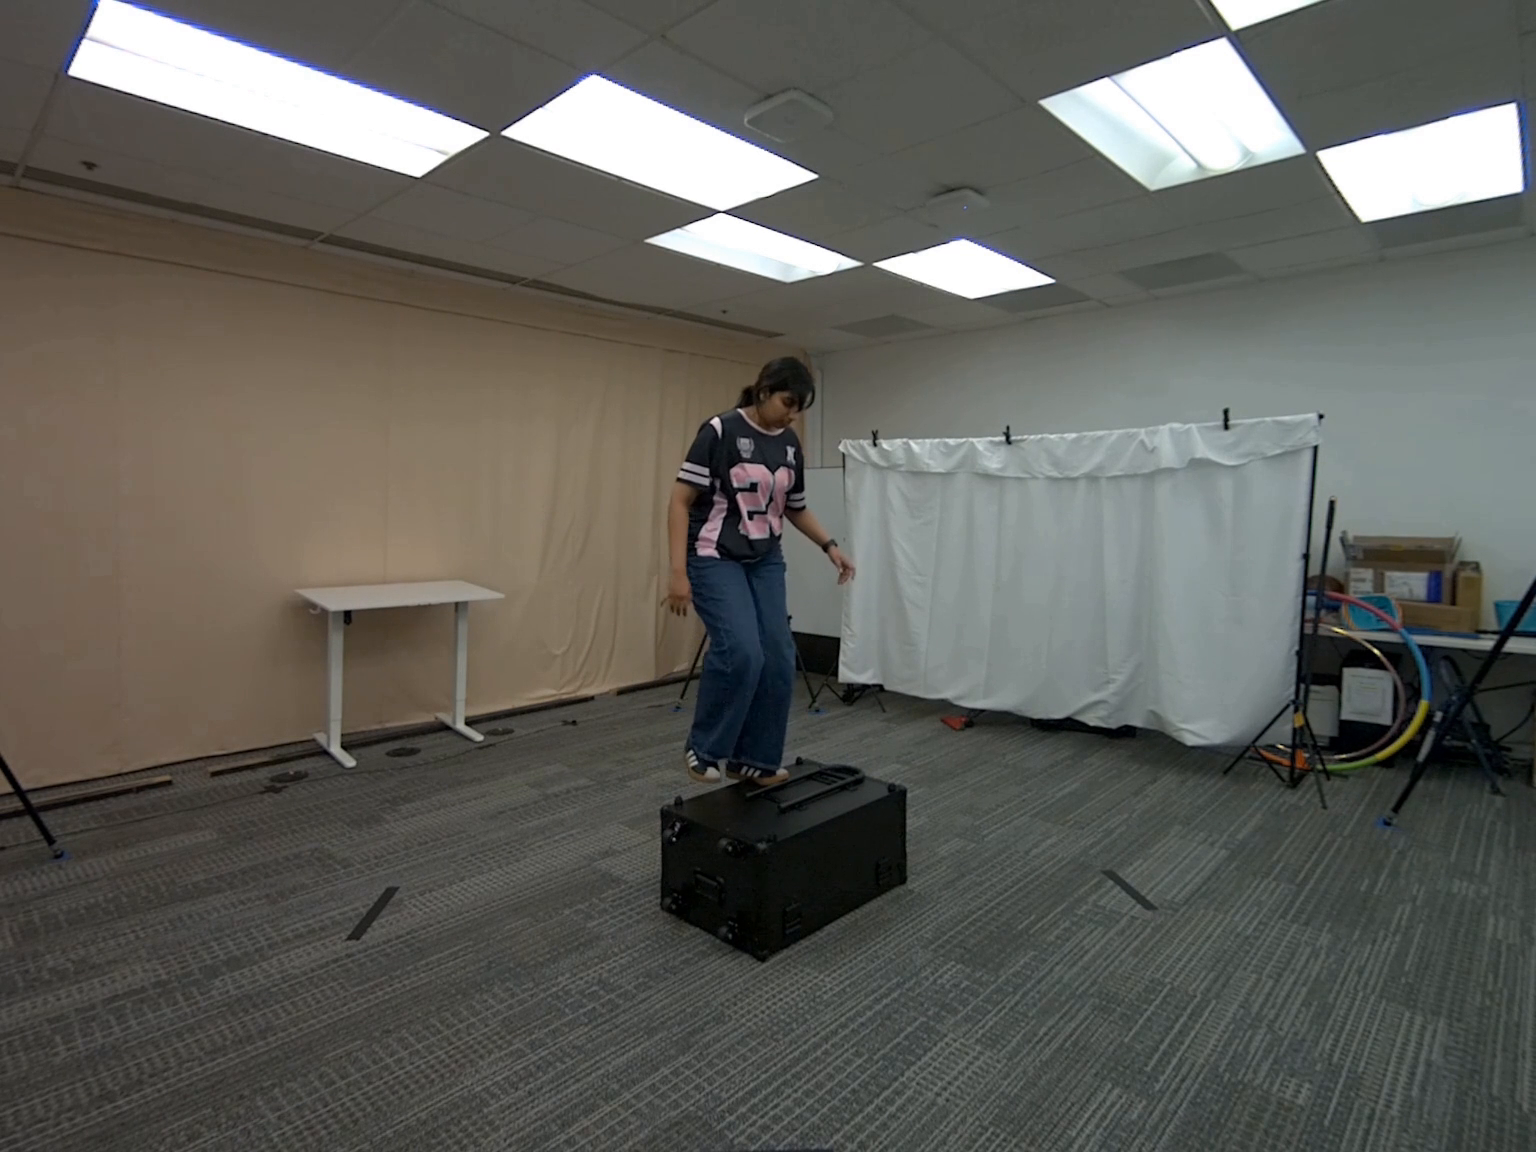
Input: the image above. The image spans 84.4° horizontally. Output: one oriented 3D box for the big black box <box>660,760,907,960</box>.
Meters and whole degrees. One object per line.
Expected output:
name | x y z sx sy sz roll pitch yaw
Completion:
big black box | 0.055 0.961 2.966 0.541 0.384 0.842 5 7 44
